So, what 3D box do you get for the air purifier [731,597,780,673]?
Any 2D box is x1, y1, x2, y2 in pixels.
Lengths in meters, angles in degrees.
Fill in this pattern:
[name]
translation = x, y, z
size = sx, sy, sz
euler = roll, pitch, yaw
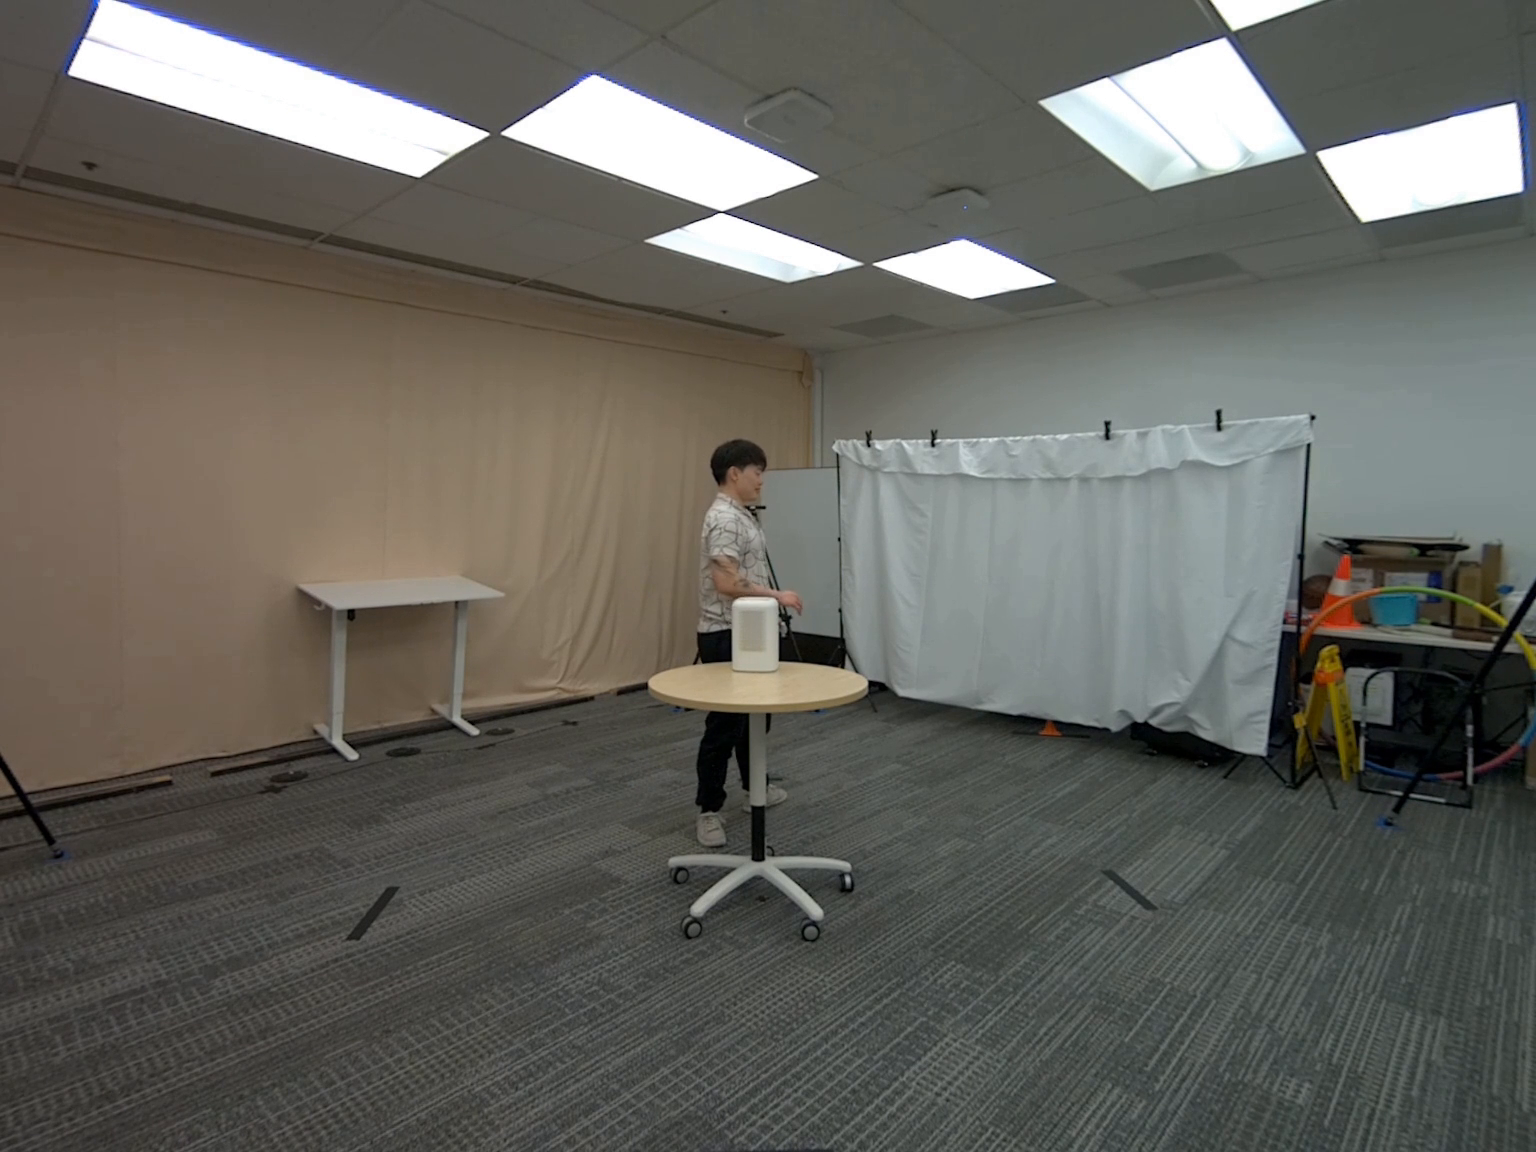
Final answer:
[air purifier]
translation = -0.049, 0.217, 3.177
size = 0.174, 0.265, 0.169
euler = -1, 3, 10
